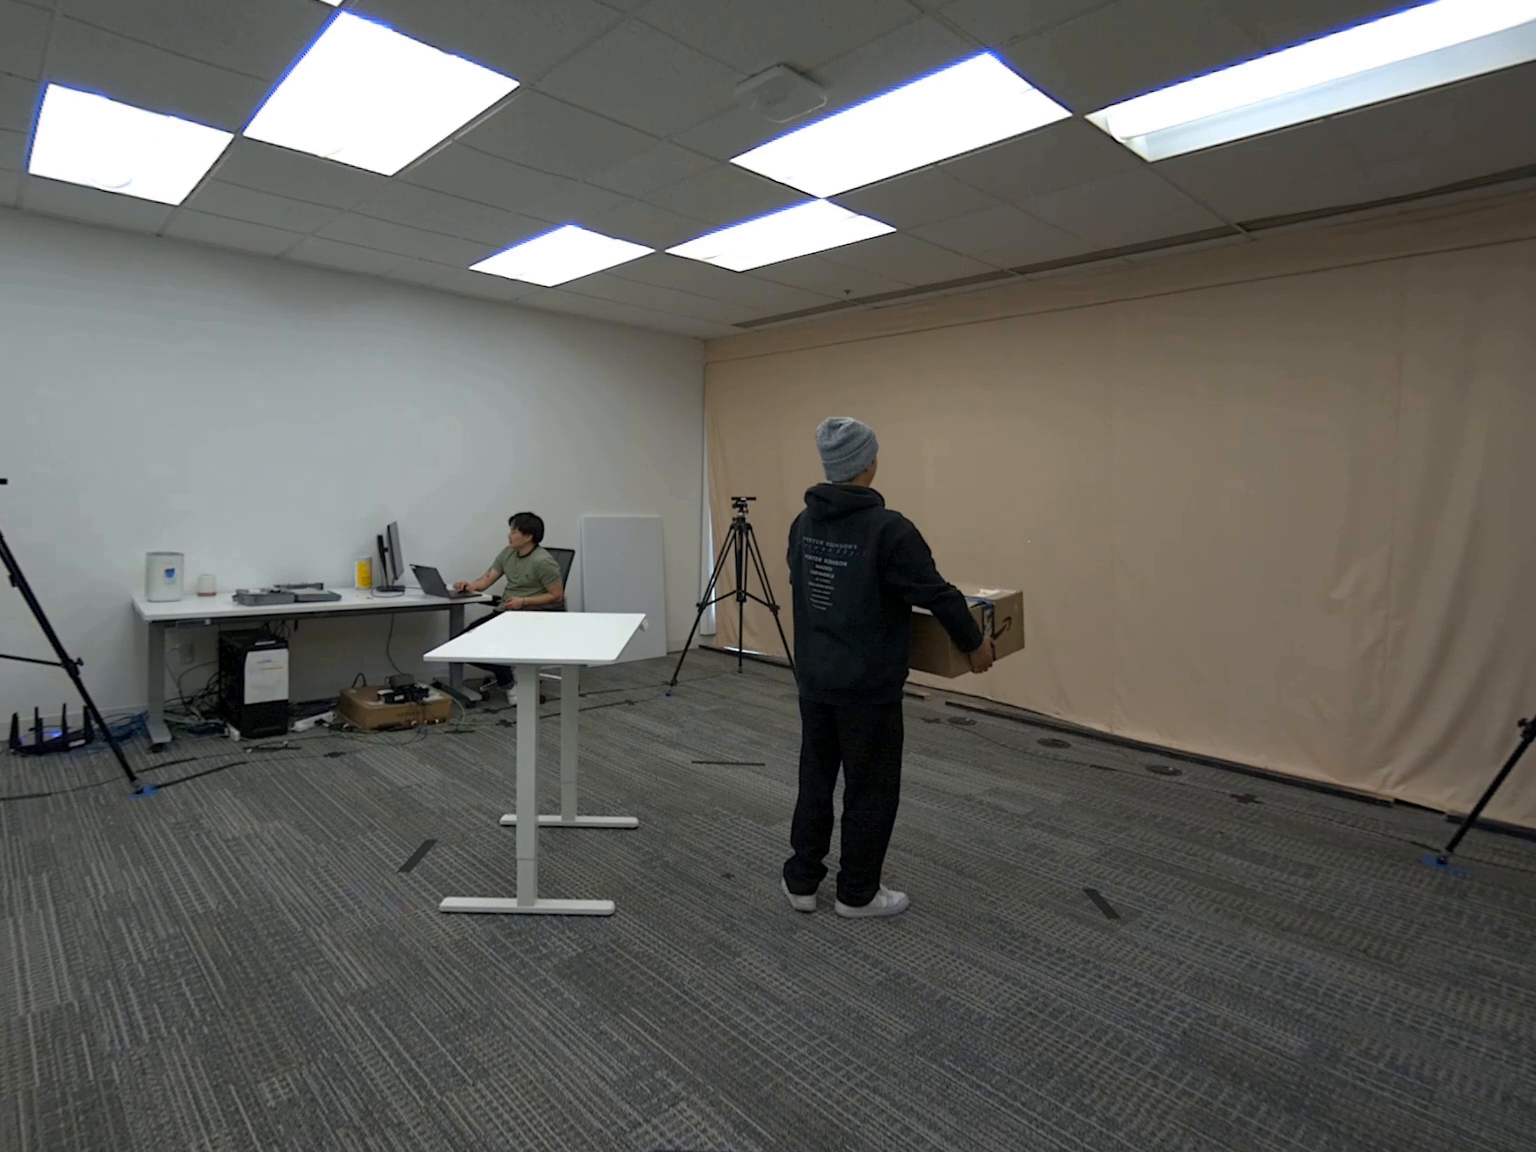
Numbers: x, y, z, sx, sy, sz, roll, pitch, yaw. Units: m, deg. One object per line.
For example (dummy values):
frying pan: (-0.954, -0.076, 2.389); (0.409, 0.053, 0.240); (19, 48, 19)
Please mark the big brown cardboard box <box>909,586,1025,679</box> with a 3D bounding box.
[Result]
big brown cardboard box: (0.574, 0.170, 3.096); (0.410, 0.231, 0.604); (-14, 13, -37)
